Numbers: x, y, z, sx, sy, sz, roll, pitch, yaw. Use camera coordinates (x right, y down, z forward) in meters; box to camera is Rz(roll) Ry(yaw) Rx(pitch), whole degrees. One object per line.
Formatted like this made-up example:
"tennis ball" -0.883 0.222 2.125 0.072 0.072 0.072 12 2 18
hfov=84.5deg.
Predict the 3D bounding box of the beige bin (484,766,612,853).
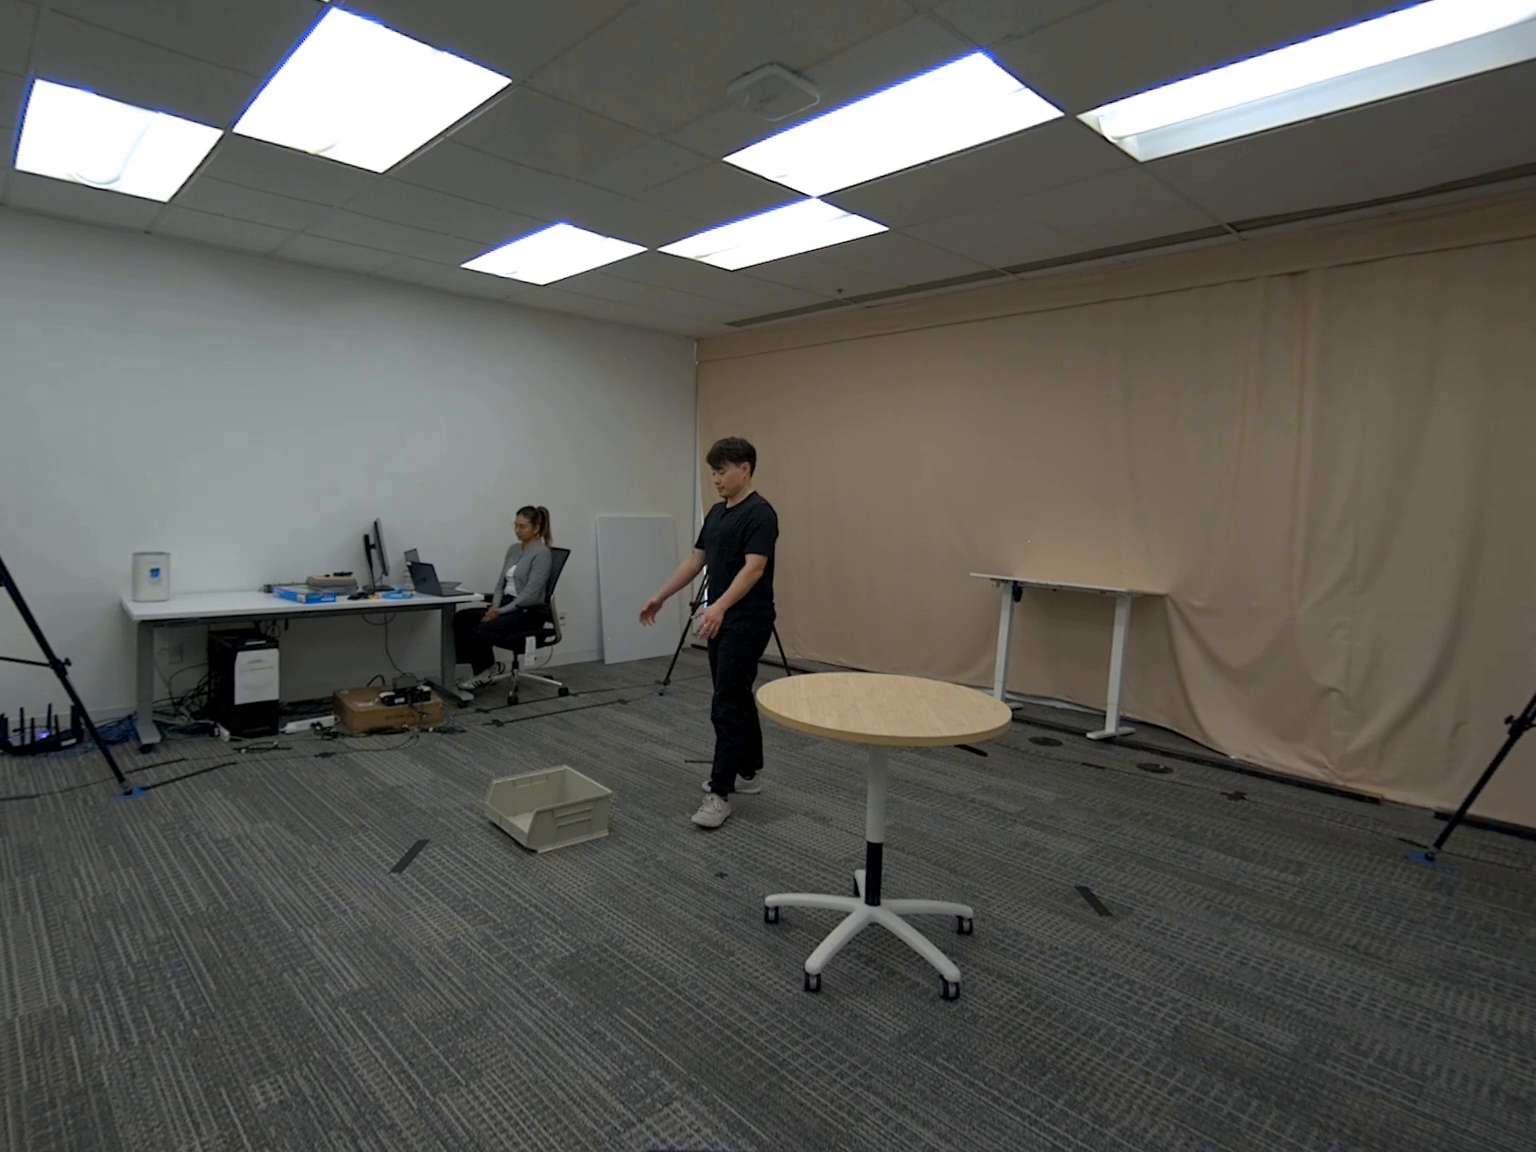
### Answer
"beige bin" -0.922 0.963 3.492 0.369 0.188 0.433 -2 5 -40
